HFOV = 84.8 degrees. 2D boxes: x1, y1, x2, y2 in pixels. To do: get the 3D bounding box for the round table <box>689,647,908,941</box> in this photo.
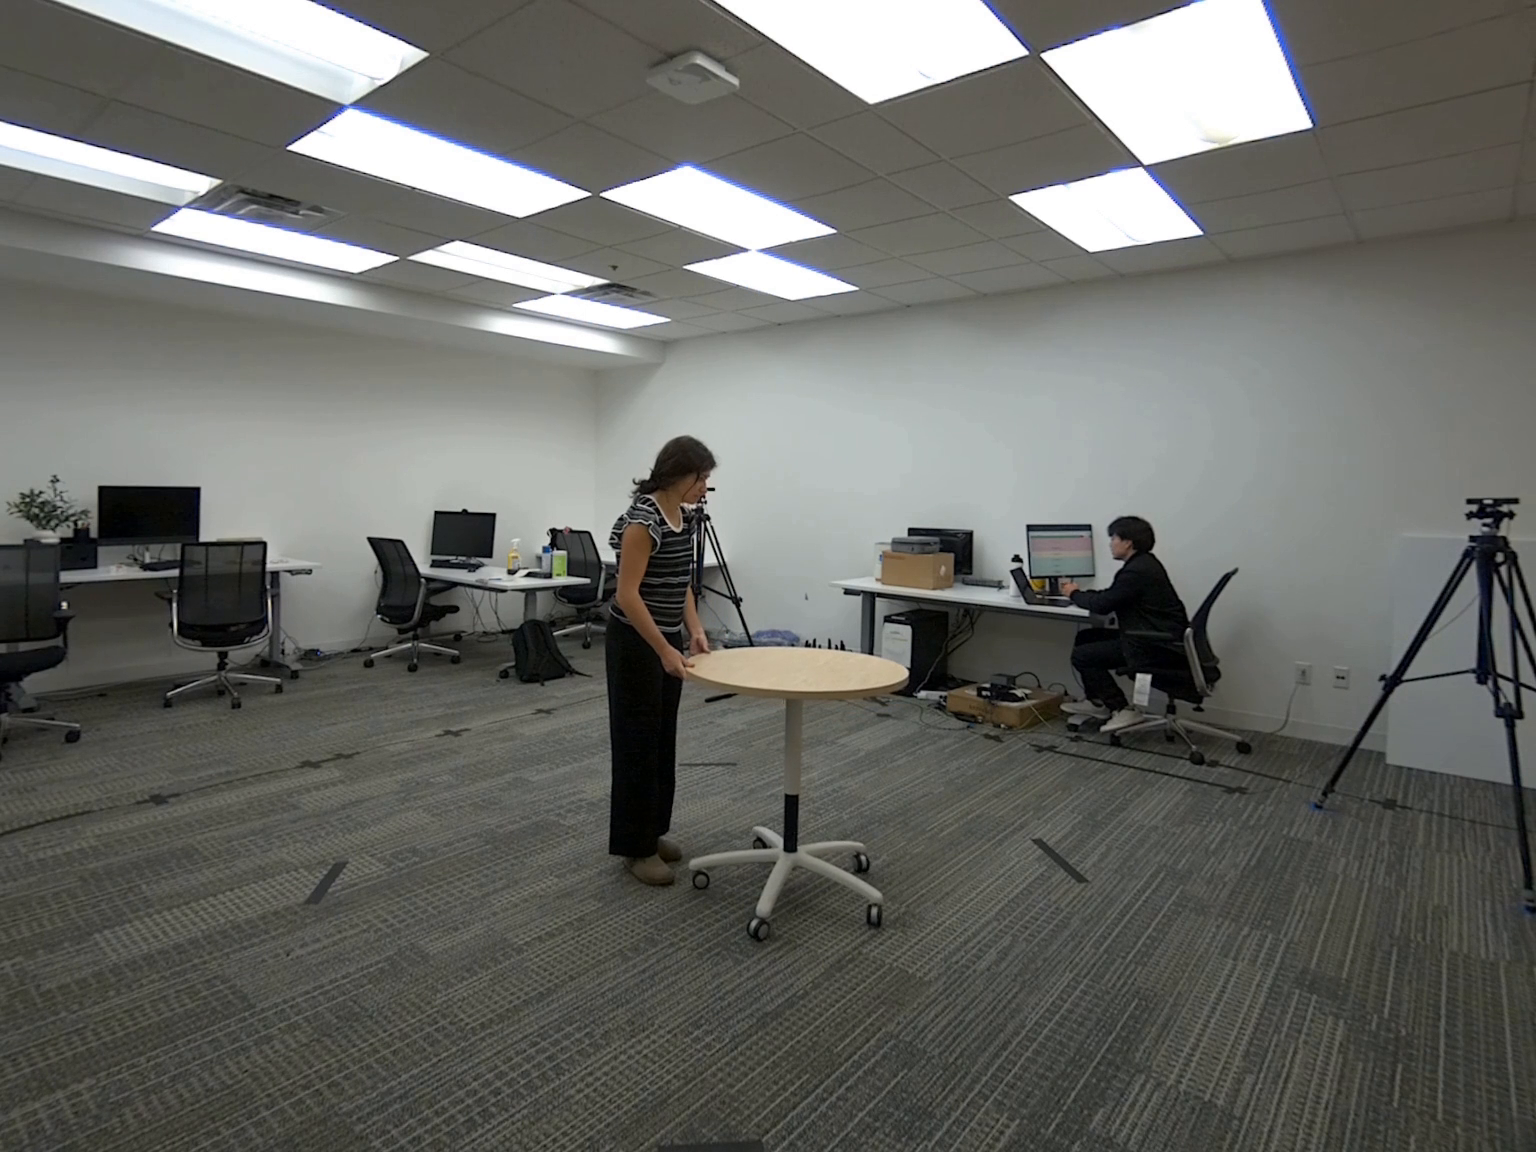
[{"bbox_3d":[0.065,0.695,2.938,0.784,0.784,0.788,1,4,-2],"label":"round table"}]
